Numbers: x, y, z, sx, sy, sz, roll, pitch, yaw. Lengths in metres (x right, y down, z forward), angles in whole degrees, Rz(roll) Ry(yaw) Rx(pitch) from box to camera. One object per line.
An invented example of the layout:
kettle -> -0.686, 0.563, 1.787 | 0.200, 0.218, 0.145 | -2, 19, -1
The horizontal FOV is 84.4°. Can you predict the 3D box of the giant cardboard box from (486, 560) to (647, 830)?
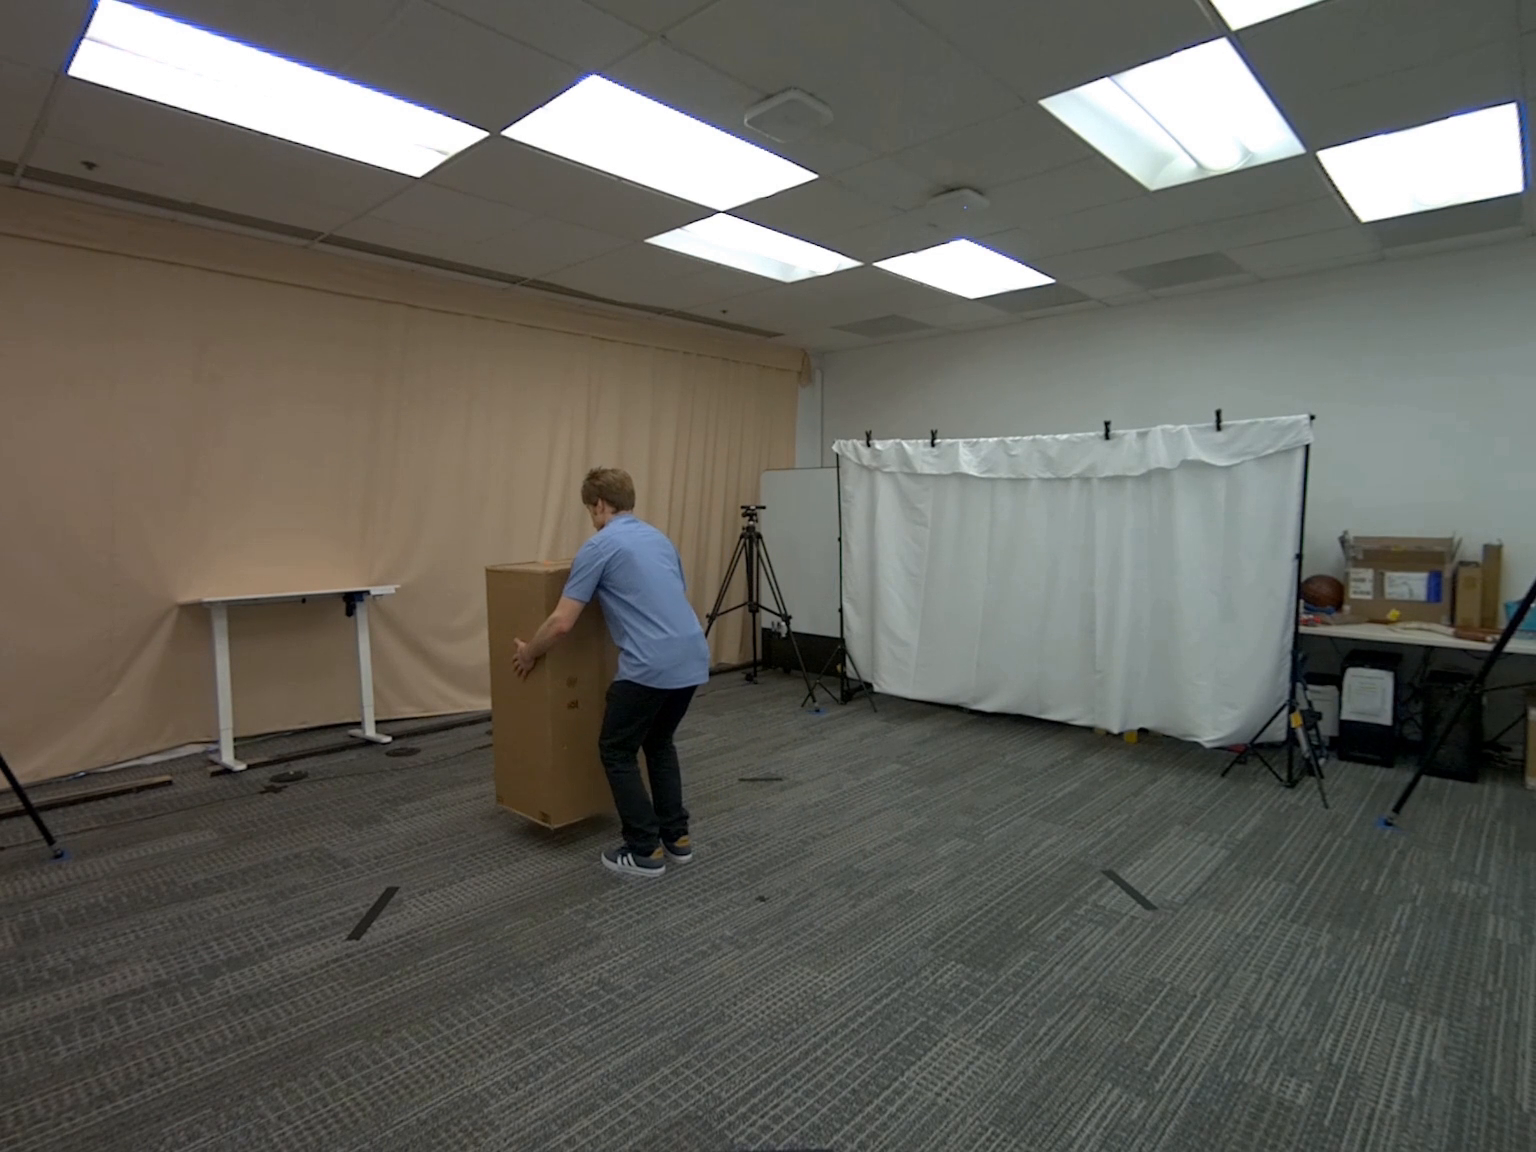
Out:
giant cardboard box -> -0.832, 0.455, 3.615 | 0.440, 1.023, 0.560 | 3, 6, 43
